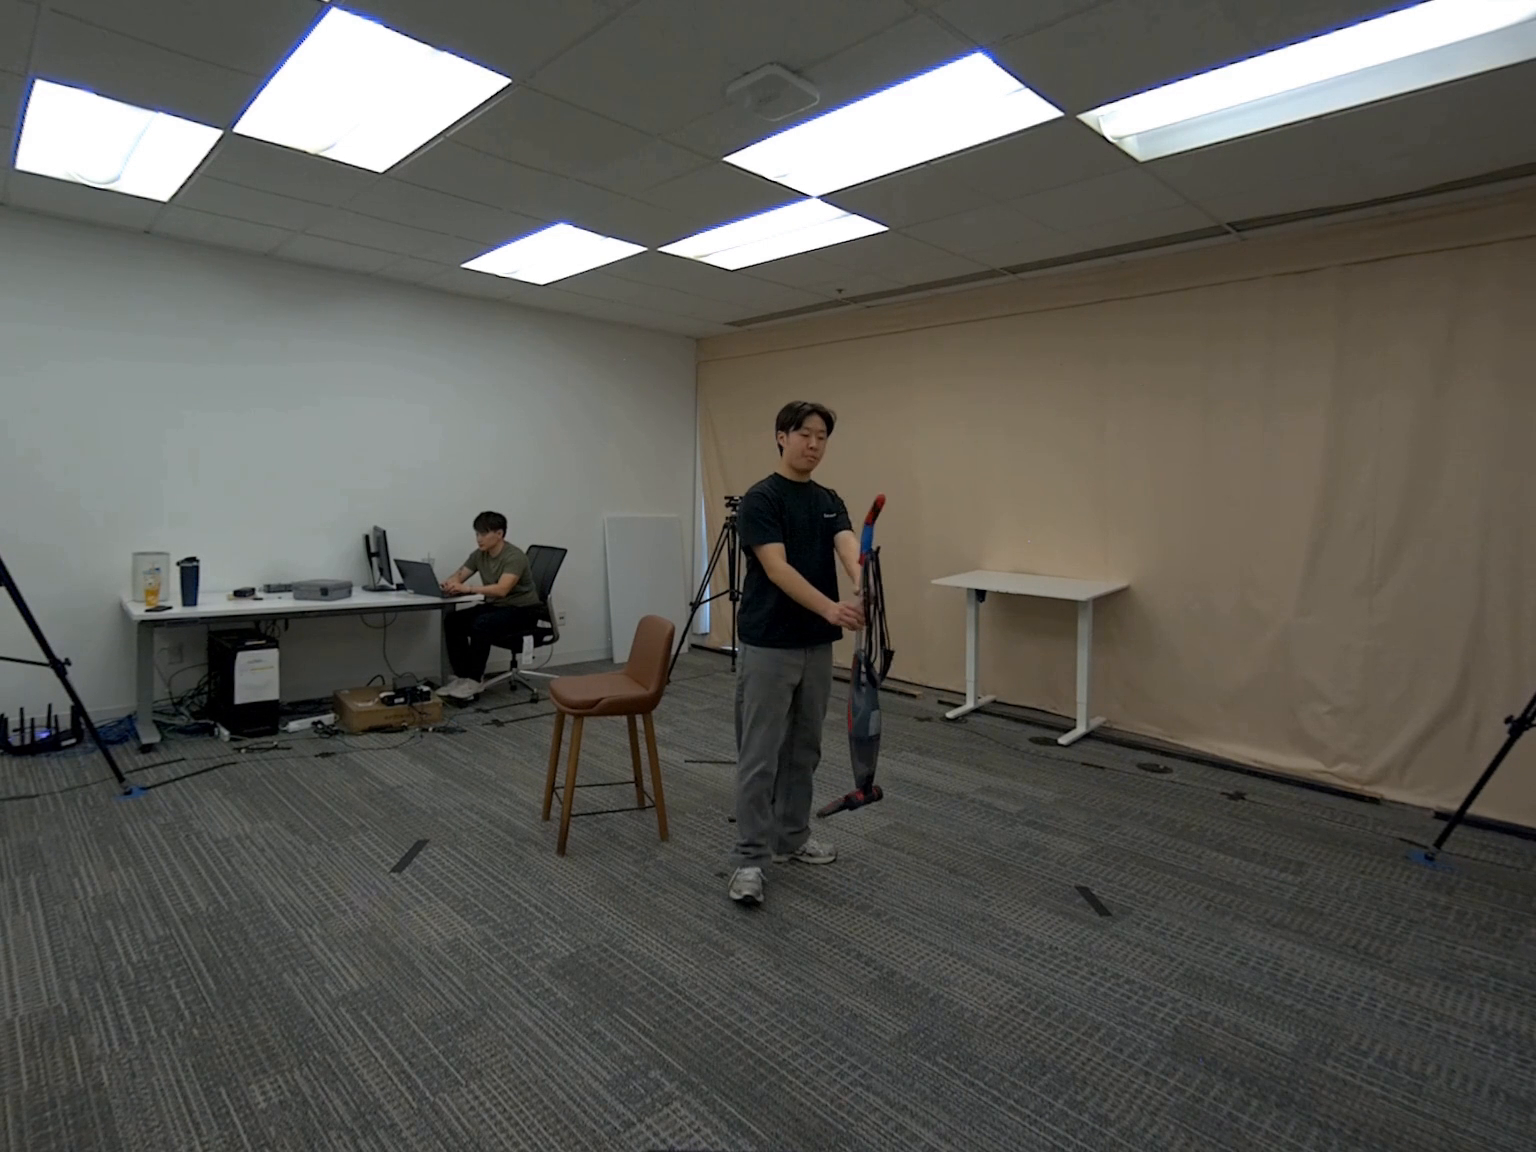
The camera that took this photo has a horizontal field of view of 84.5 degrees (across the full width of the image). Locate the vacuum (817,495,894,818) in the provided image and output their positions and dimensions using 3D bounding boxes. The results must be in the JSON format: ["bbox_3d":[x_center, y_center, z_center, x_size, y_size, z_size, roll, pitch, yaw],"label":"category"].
[{"bbox_3d":[0.317,0.265,2.719,0.247,1.039,0.148,-9,19,-43],"label":"vacuum"}]
